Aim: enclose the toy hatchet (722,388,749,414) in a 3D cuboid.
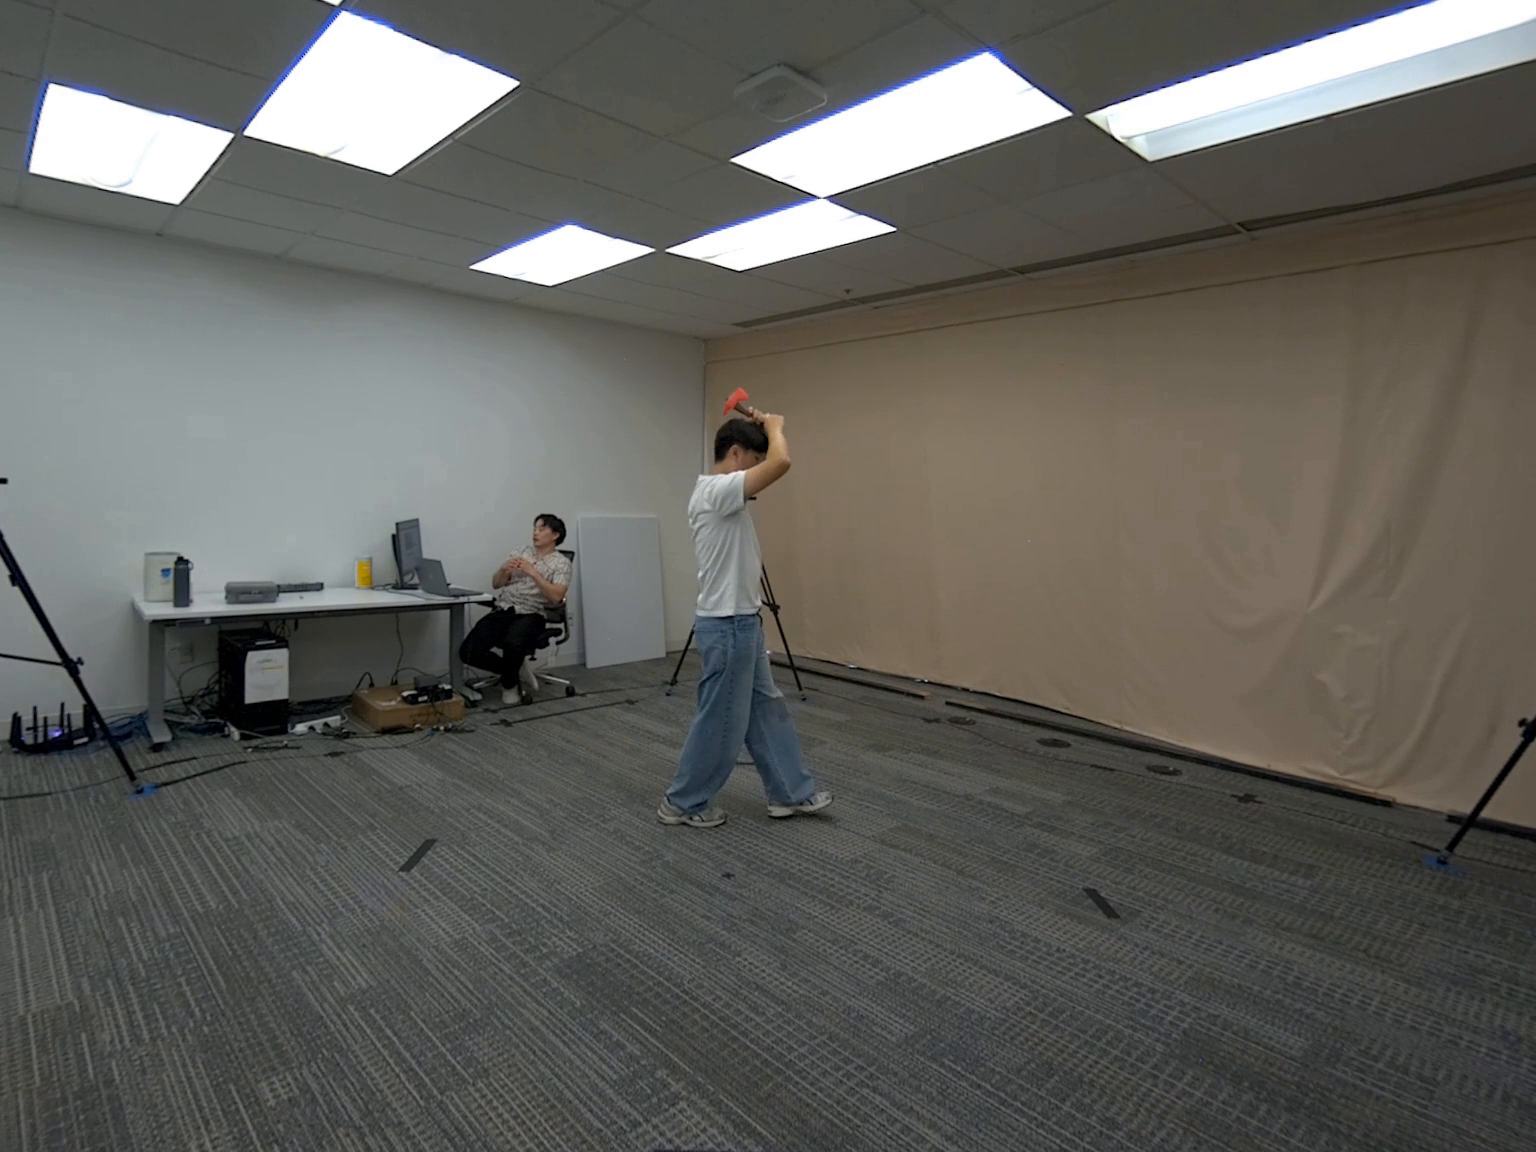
[{"bbox_3d":[-0.049,-0.713,3.547,0.272,0.131,0.029,14,2,9],"label":"toy hatchet"}]
